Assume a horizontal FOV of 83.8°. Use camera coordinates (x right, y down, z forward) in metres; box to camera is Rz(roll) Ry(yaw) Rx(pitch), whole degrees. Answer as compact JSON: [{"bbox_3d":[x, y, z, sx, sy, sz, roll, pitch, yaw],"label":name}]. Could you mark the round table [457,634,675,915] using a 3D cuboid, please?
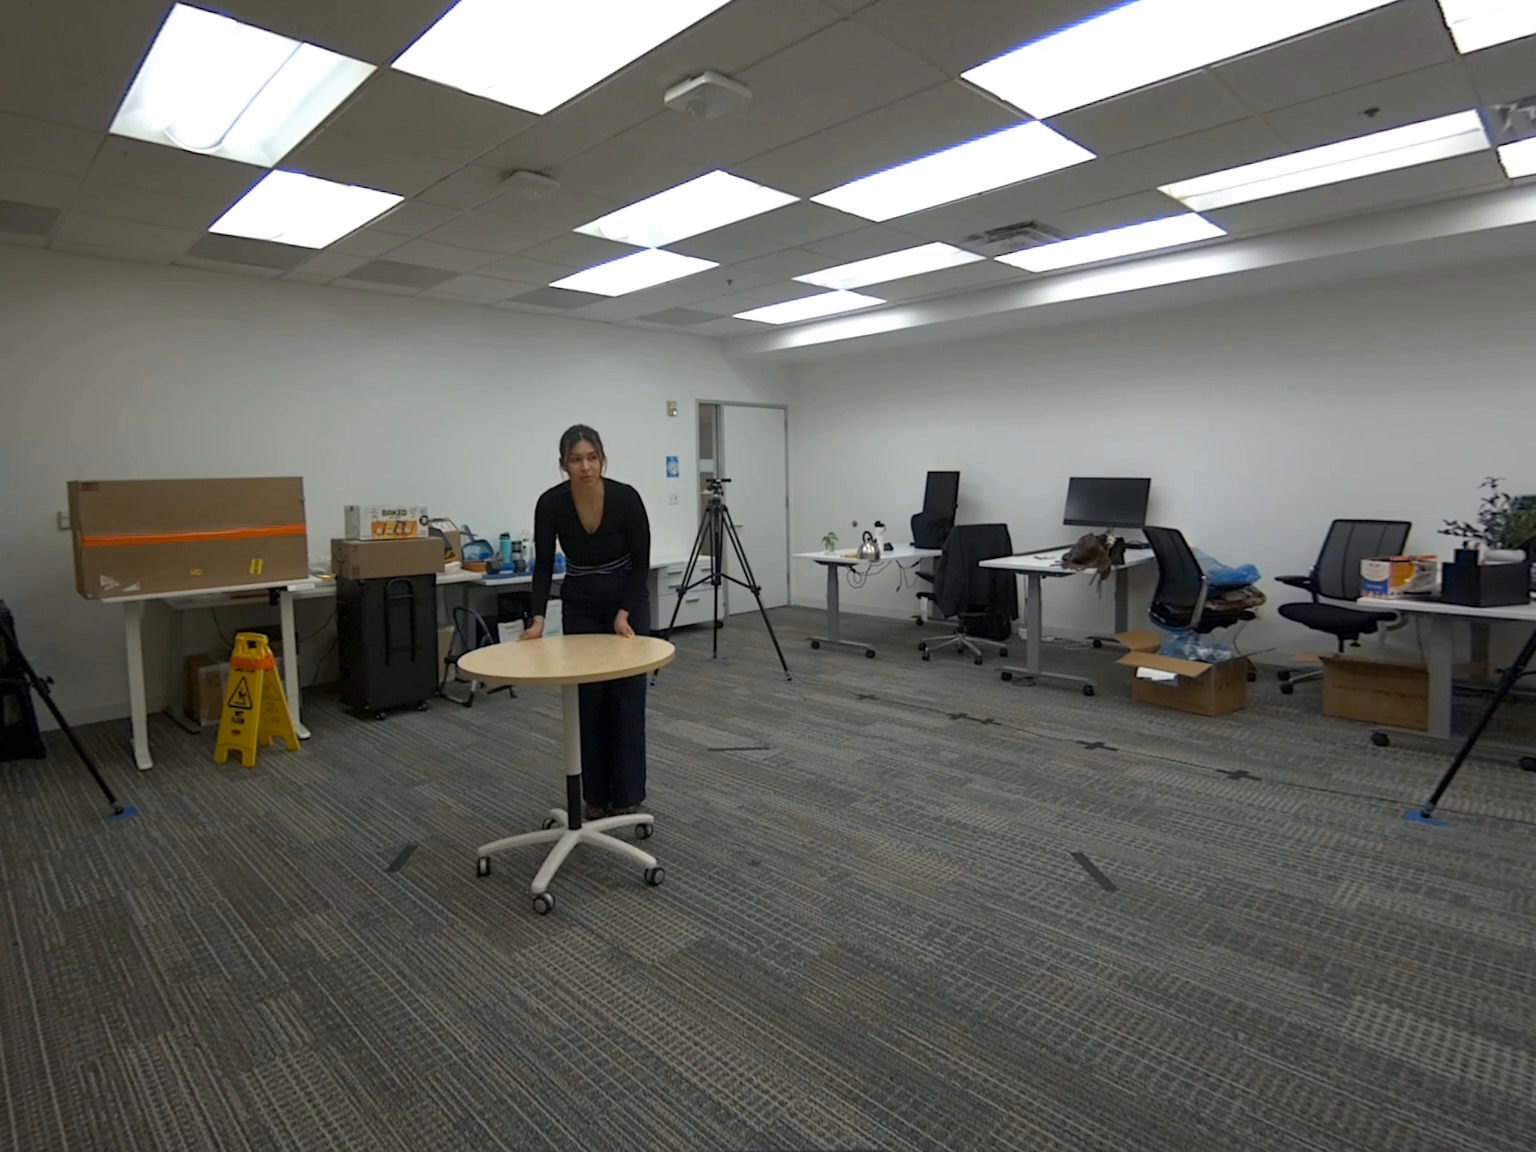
[{"bbox_3d":[-0.704,0.673,3.085,0.763,0.791,0.767,-2,4,-2],"label":"round table"}]
